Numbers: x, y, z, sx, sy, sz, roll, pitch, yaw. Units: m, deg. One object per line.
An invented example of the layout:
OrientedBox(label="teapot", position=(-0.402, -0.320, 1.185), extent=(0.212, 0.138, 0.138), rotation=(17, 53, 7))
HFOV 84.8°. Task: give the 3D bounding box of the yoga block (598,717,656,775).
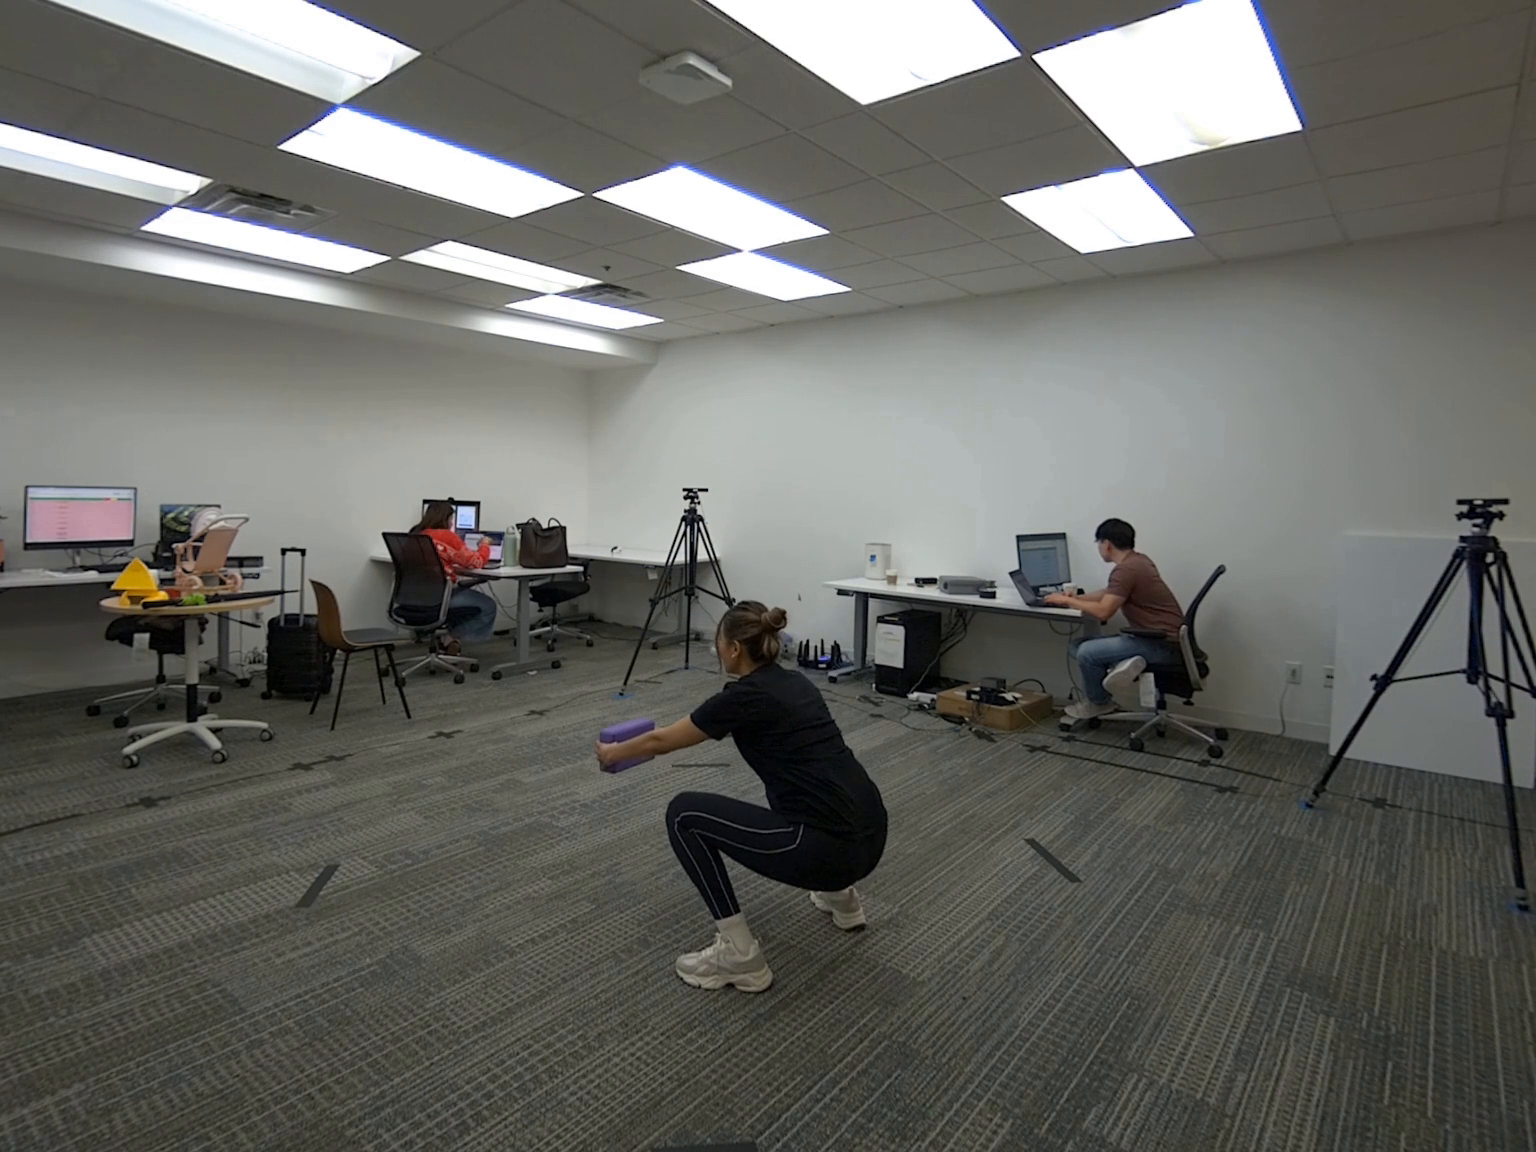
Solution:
OrientedBox(label="yoga block", position=(-0.517, 0.604, 3.045), extent=(0.079, 0.149, 0.223), rotation=(0, 4, 35))
